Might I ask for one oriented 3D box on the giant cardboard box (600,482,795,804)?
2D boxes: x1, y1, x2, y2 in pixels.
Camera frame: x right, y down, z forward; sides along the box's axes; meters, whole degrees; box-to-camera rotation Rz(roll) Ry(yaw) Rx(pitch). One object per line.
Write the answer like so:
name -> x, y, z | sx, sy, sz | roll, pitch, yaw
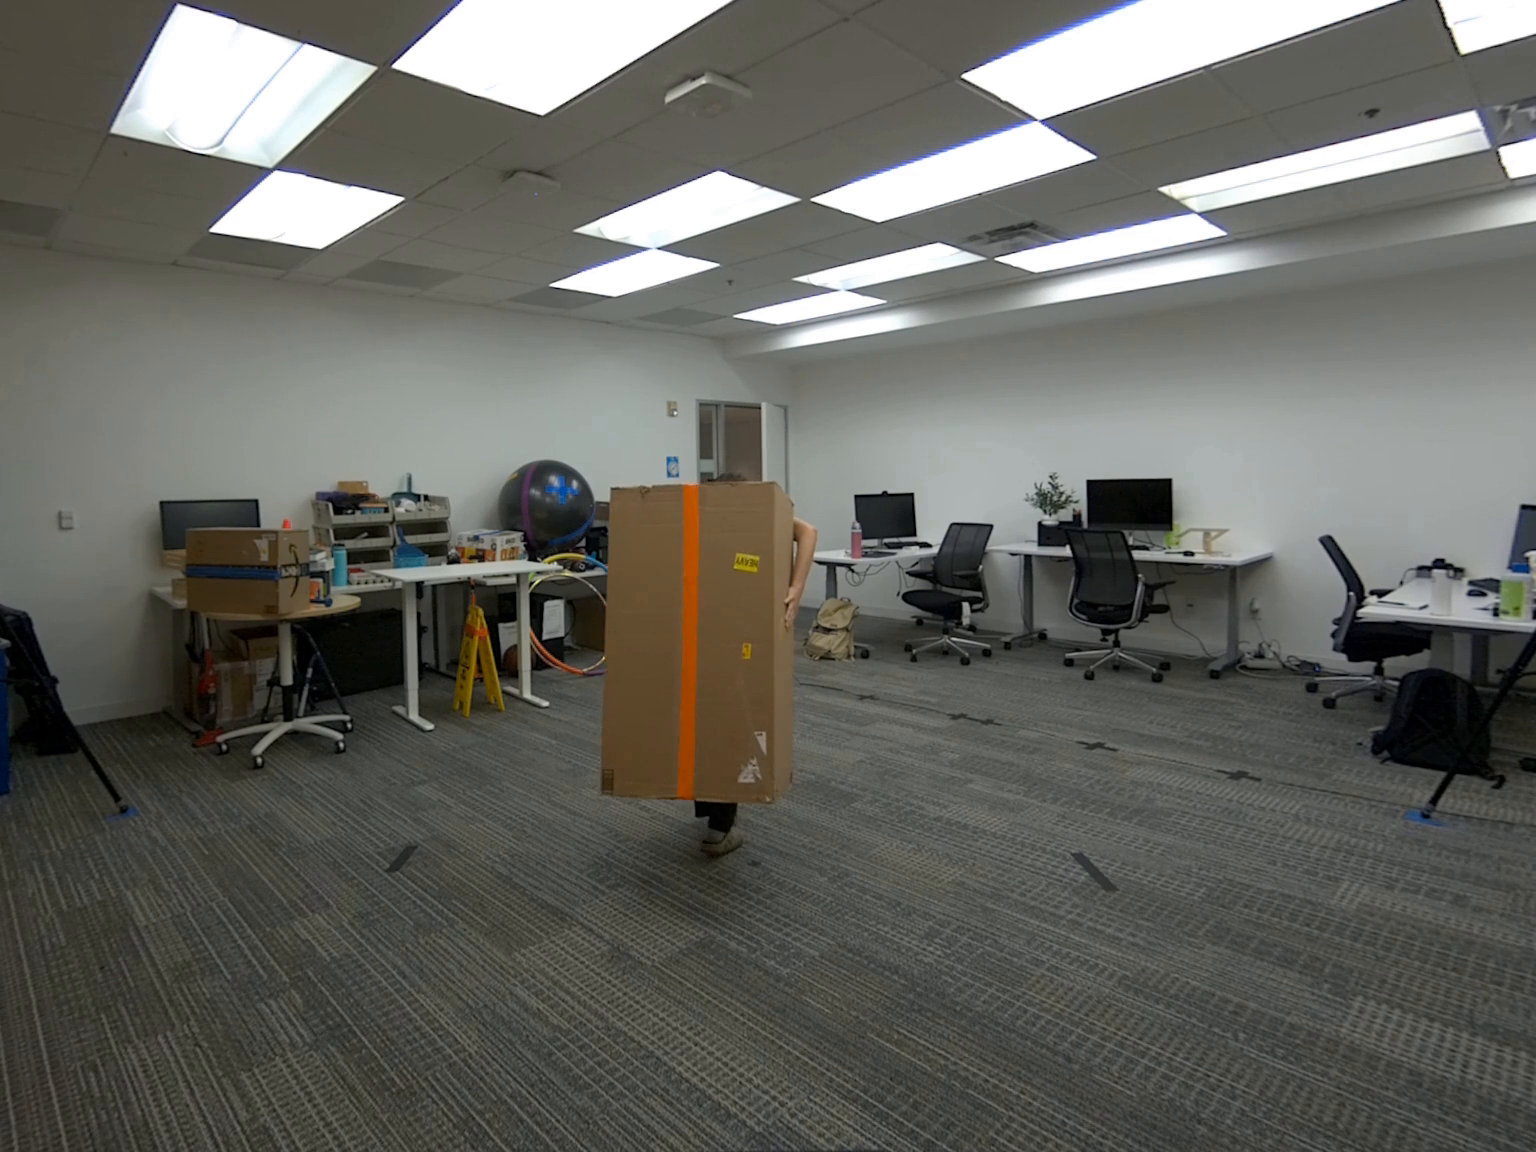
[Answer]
giant cardboard box -> -0.228, 0.224, 2.972 | 0.584, 1.033, 0.418 | -1, -7, 12
